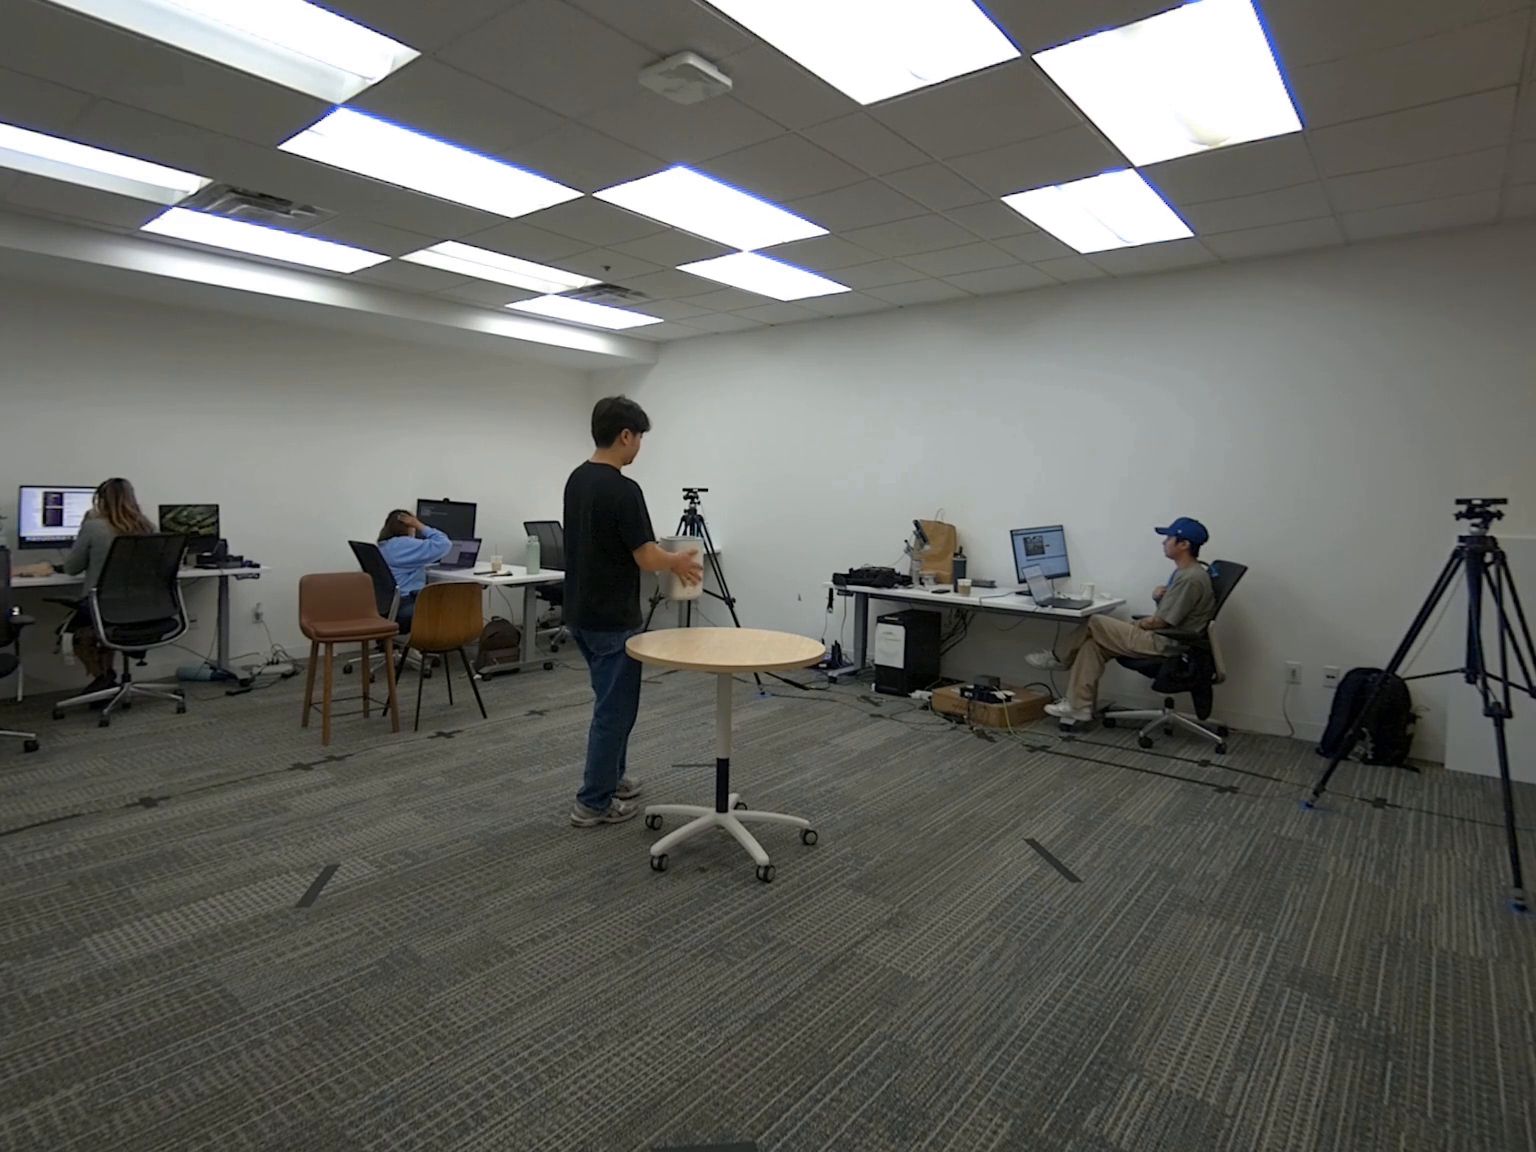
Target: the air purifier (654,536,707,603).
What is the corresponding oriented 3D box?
[{"bbox_3d":[-0.390,-0.034,3.703,0.167,0.264,0.176,-1,5,-27],"label":"air purifier"}]
